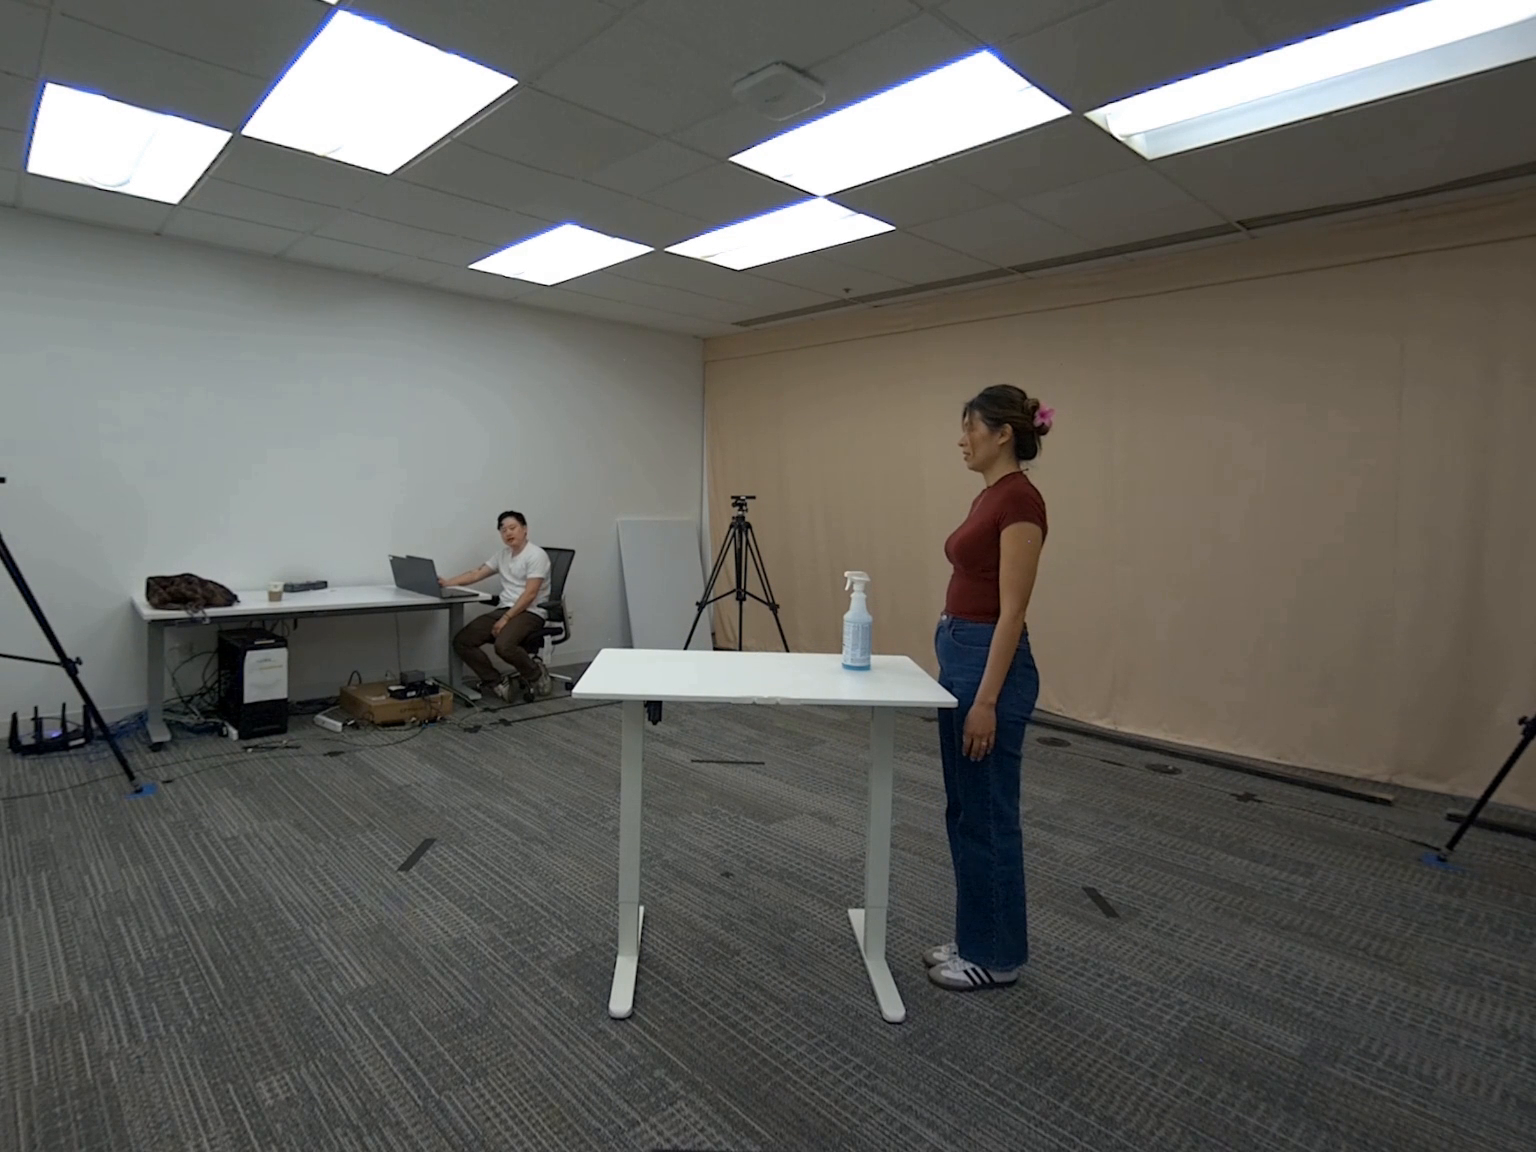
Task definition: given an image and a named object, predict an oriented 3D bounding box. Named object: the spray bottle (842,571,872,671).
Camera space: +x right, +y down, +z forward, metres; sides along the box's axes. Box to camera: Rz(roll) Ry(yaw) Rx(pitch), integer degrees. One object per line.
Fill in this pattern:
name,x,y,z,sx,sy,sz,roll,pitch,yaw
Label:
spray bottle,0.266,0.134,2.560,0.090,0.296,0.087,-1,5,-3
